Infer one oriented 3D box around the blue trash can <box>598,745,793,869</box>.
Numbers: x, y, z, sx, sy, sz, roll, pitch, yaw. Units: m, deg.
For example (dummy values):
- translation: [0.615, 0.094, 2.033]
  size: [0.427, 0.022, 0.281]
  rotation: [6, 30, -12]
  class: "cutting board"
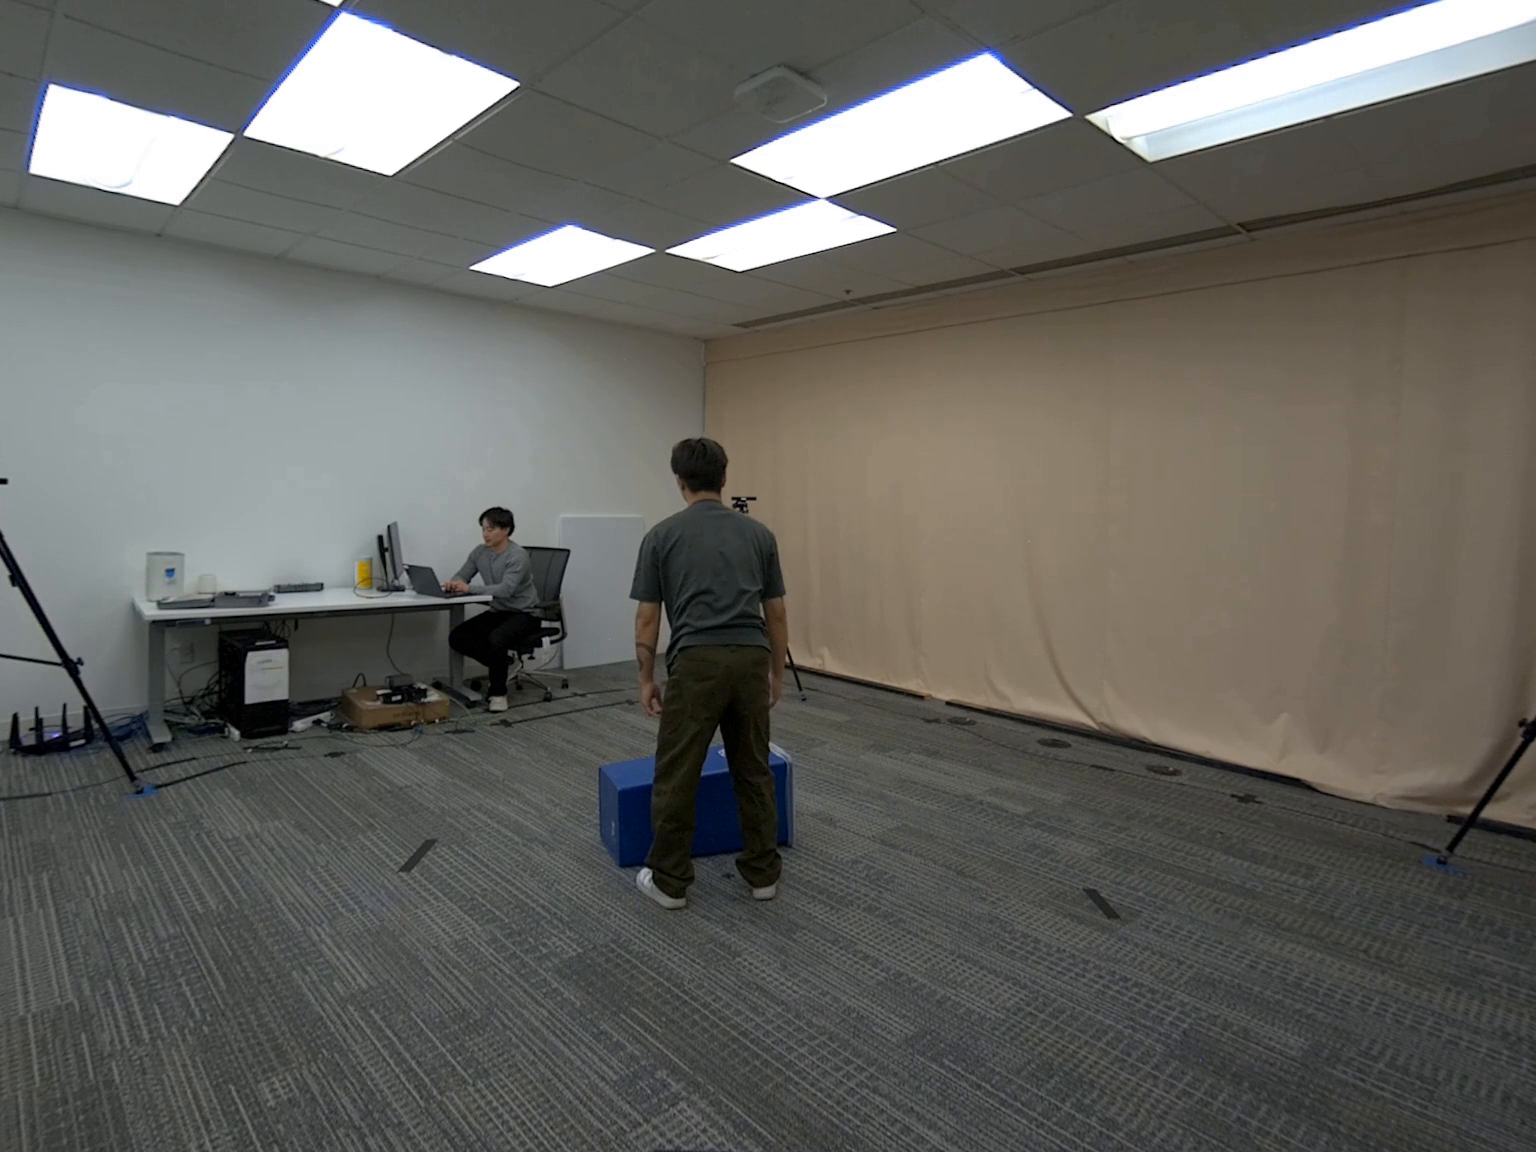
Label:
- translation: [-0.303, 0.910, 3.398]
  size: [0.702, 0.372, 0.385]
  rotation: [-4, 7, -22]
  class: "blue trash can"
